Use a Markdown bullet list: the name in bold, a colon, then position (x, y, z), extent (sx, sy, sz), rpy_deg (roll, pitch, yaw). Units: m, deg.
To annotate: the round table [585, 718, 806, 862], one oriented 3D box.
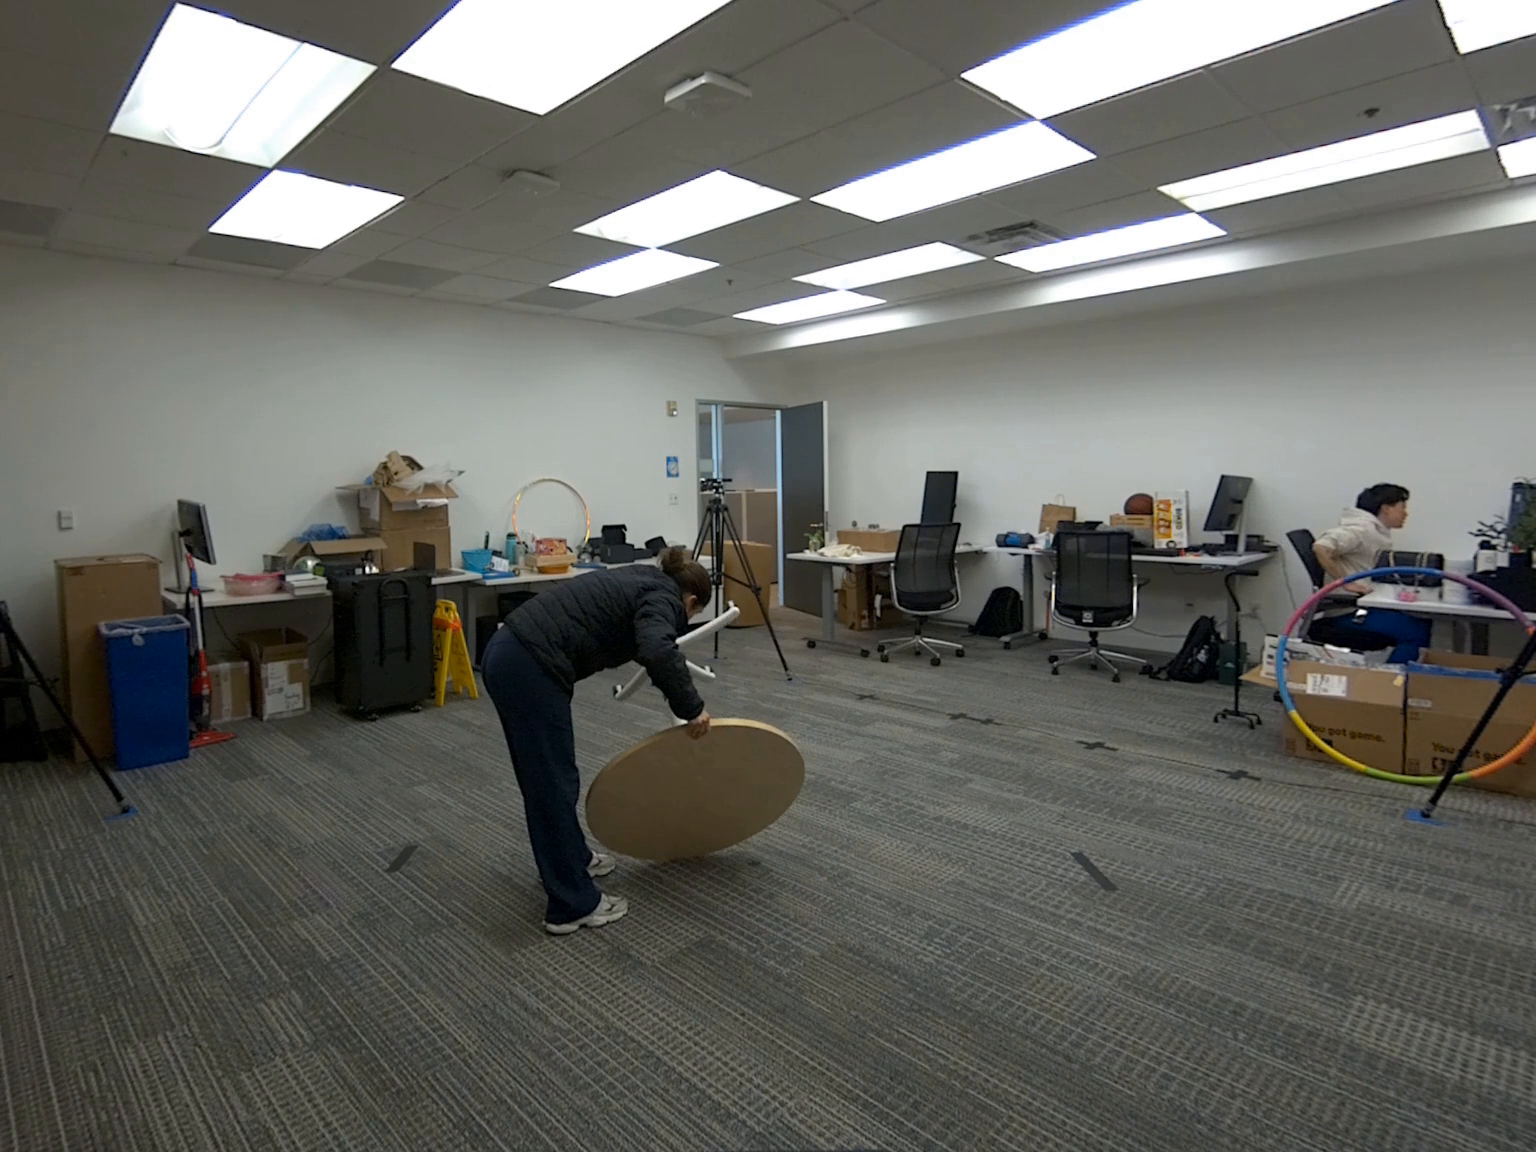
- **round table**: position (-0.353, 0.501, 3.243), extent (0.774, 0.769, 0.814), rpy_deg (-2, 40, -16)
